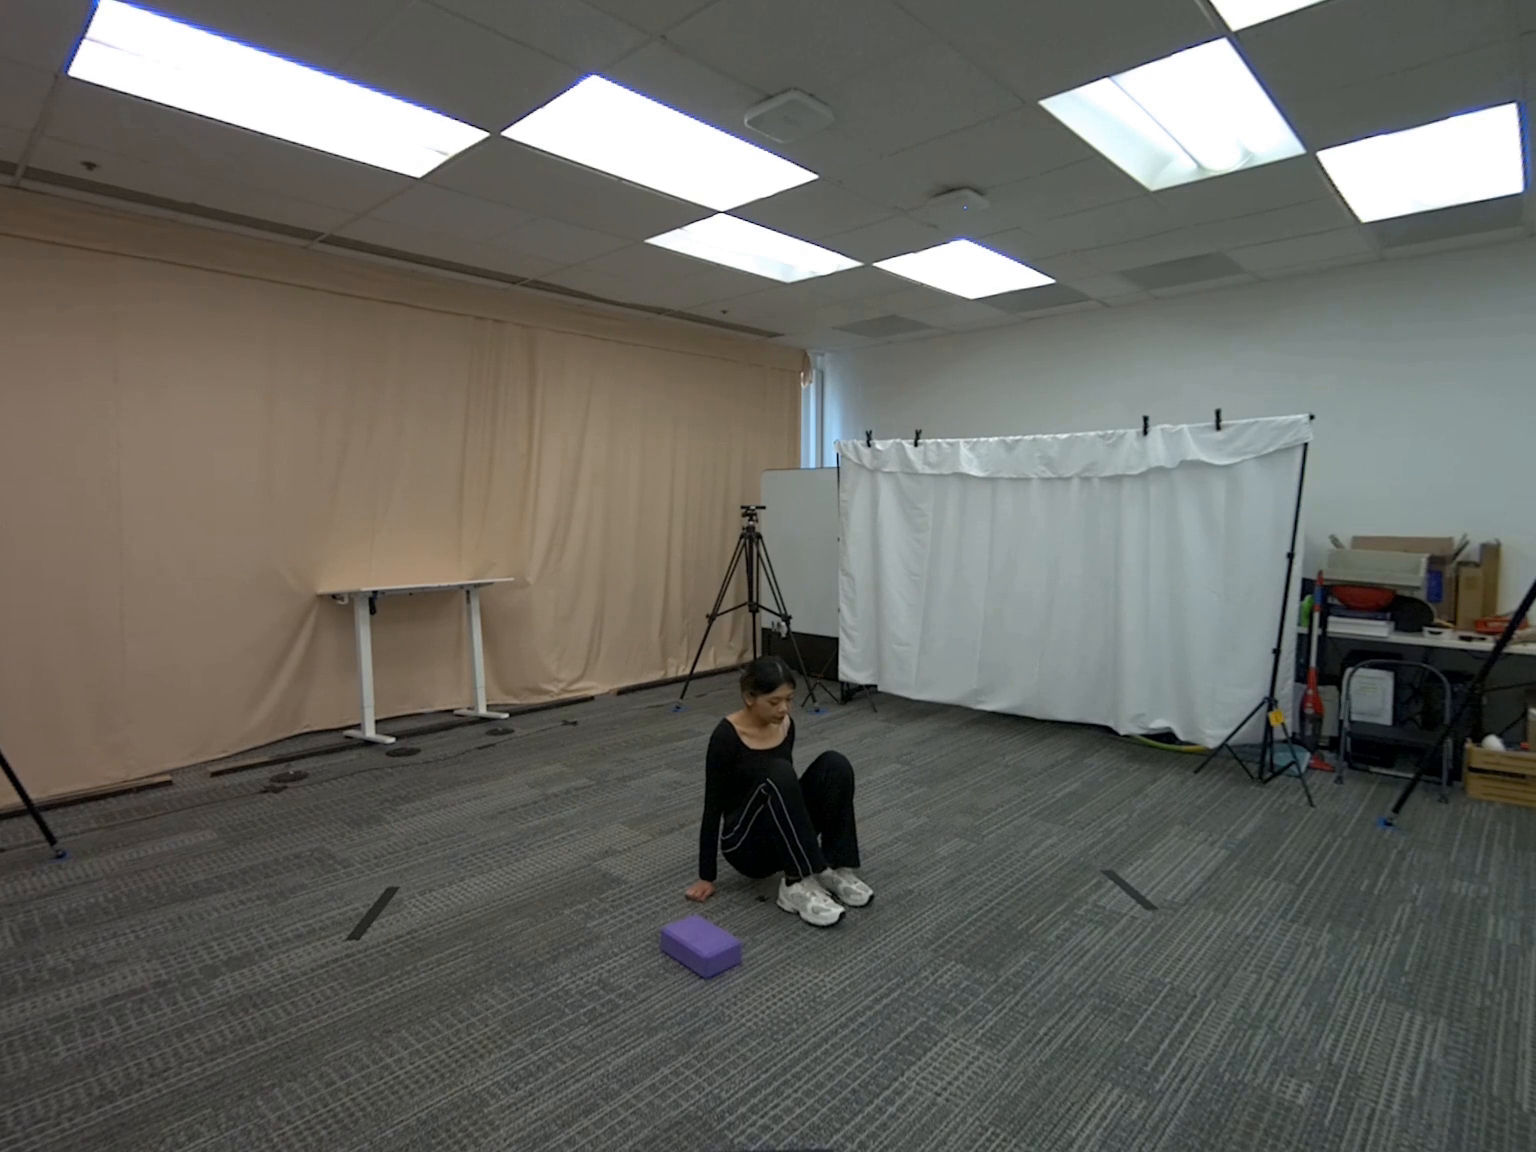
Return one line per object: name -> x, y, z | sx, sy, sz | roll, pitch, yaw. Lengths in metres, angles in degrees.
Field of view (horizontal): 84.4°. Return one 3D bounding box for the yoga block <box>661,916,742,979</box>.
yoga block -> -0.211, 1.133, 2.596 | 0.144, 0.076, 0.237 | -5, 7, -43
